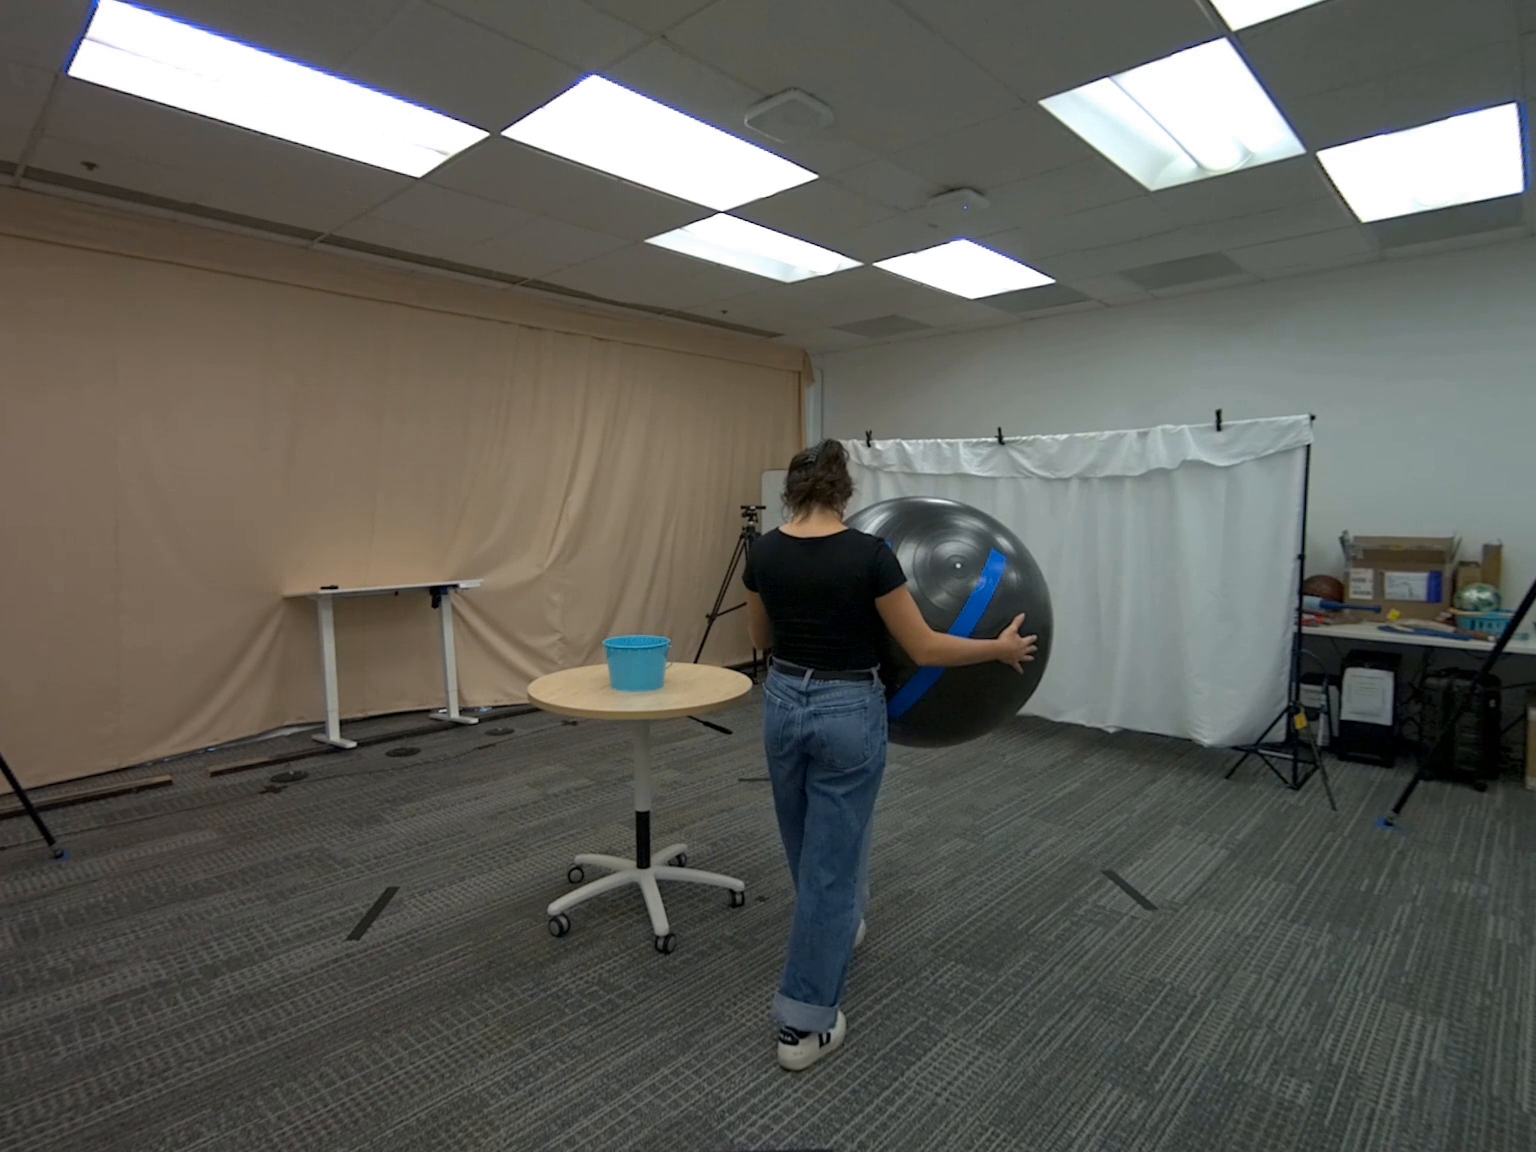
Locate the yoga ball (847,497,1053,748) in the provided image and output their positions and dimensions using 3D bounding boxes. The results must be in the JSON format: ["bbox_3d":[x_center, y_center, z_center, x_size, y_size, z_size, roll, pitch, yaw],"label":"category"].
[{"bbox_3d":[0.476,0.142,2.576,0.757,0.756,0.760,0,4,-2],"label":"yoga ball"}]
